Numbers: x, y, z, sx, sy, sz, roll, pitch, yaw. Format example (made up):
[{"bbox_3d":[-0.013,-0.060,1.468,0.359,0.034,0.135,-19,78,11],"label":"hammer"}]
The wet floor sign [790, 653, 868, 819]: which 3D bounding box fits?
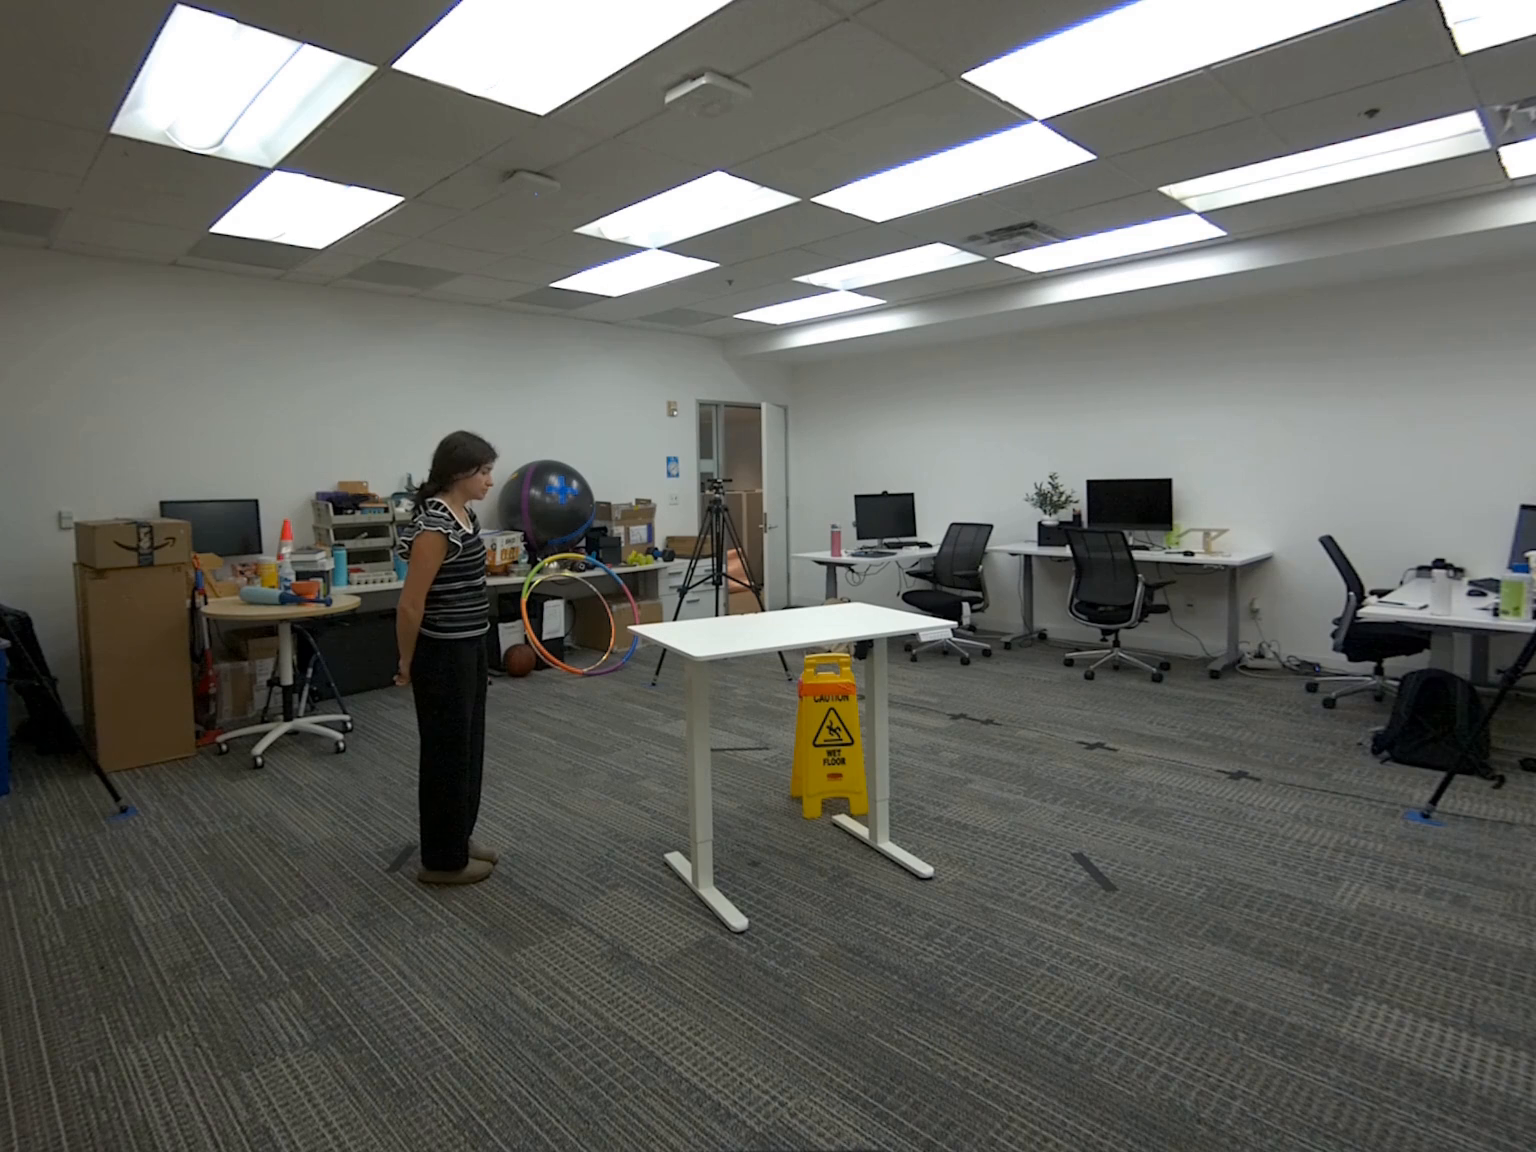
[{"bbox_3d":[0.265,0.657,3.638,0.280,0.645,0.293,-1,2,-9],"label":"wet floor sign"}]
